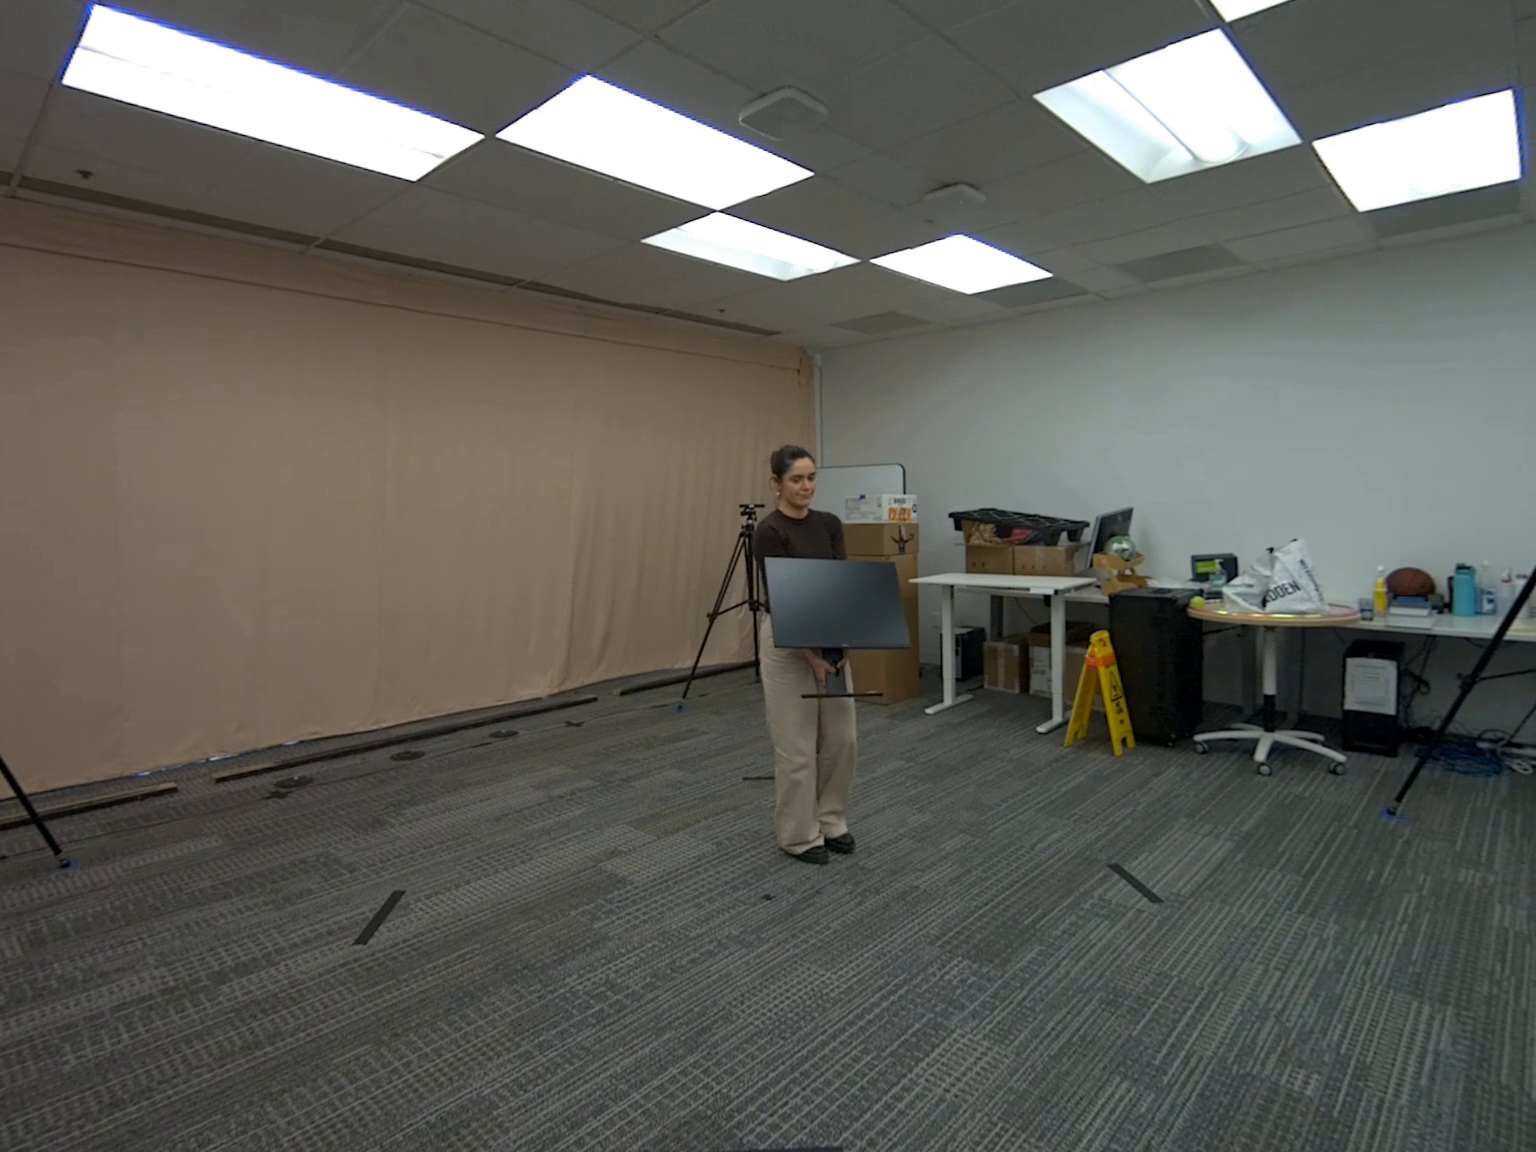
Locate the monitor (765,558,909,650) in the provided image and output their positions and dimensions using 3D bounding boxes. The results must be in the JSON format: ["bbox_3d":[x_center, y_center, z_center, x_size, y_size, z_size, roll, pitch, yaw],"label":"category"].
[{"bbox_3d":[0.258,0.195,3.133,0.529,0.527,0.189,1,-13,-19],"label":"monitor"}]
